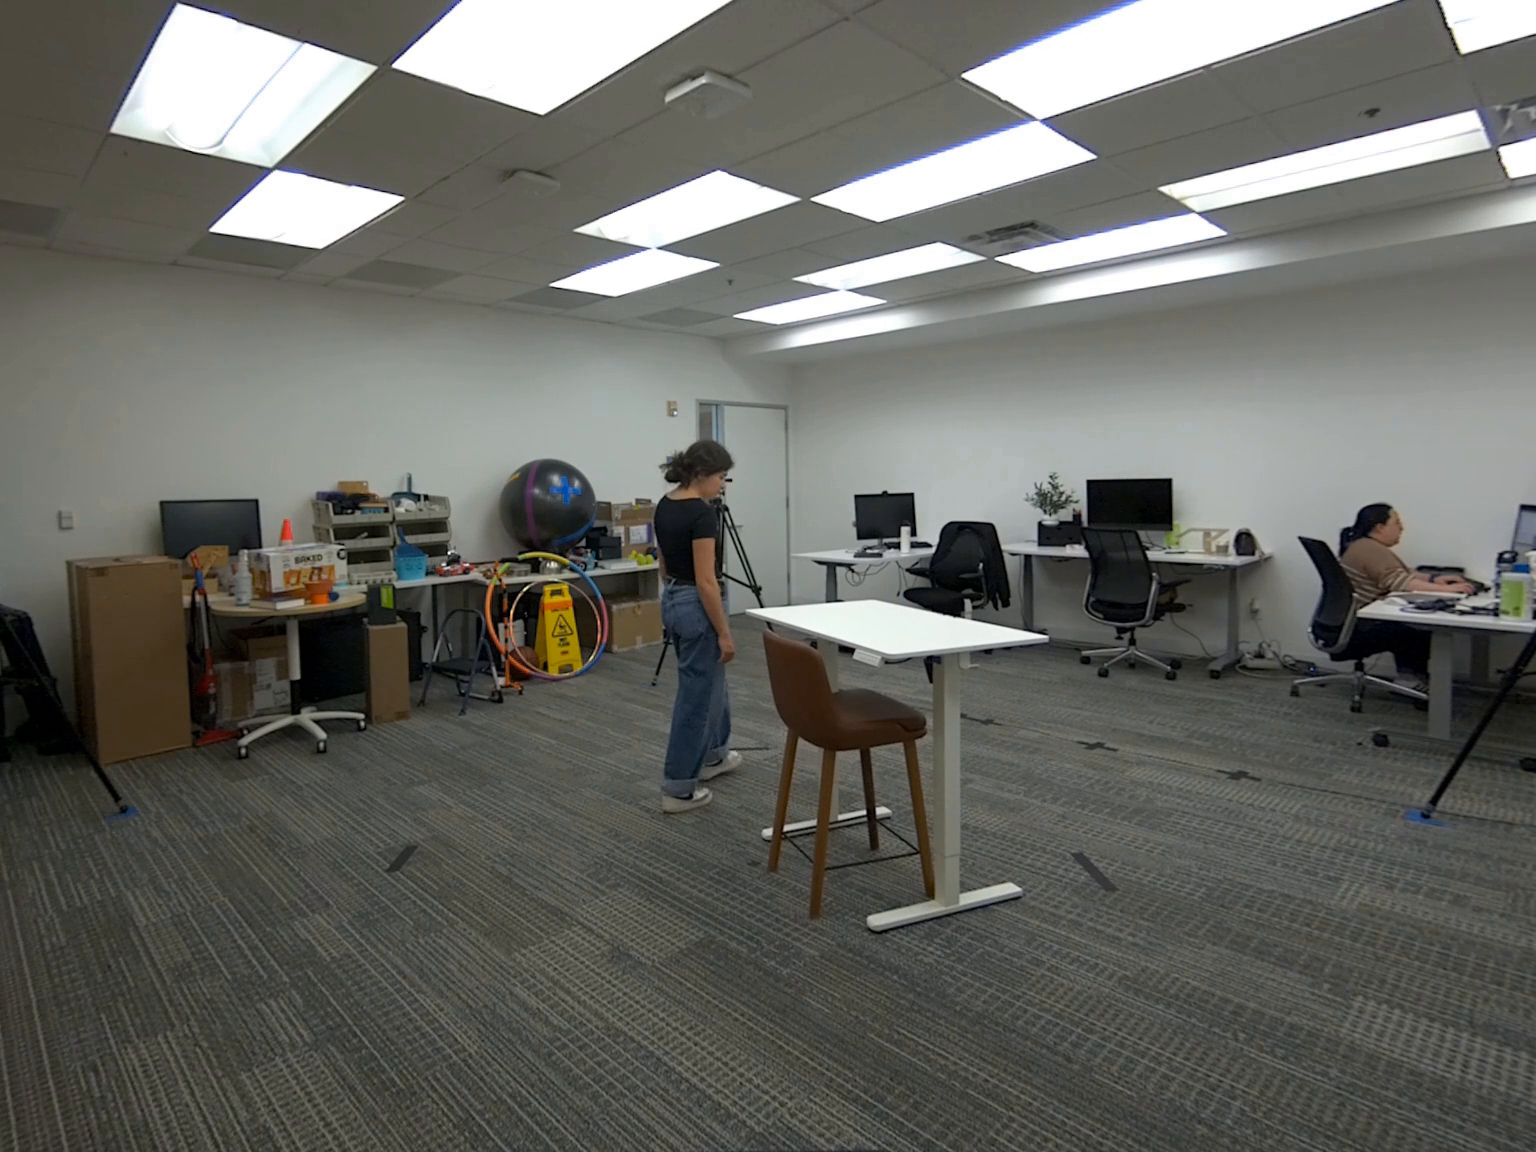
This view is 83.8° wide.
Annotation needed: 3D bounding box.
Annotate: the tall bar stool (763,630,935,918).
[{"bbox_3d":[0.265,0.631,2.924,0.459,0.886,0.466,-4,5,-21],"label":"tall bar stool"}]
